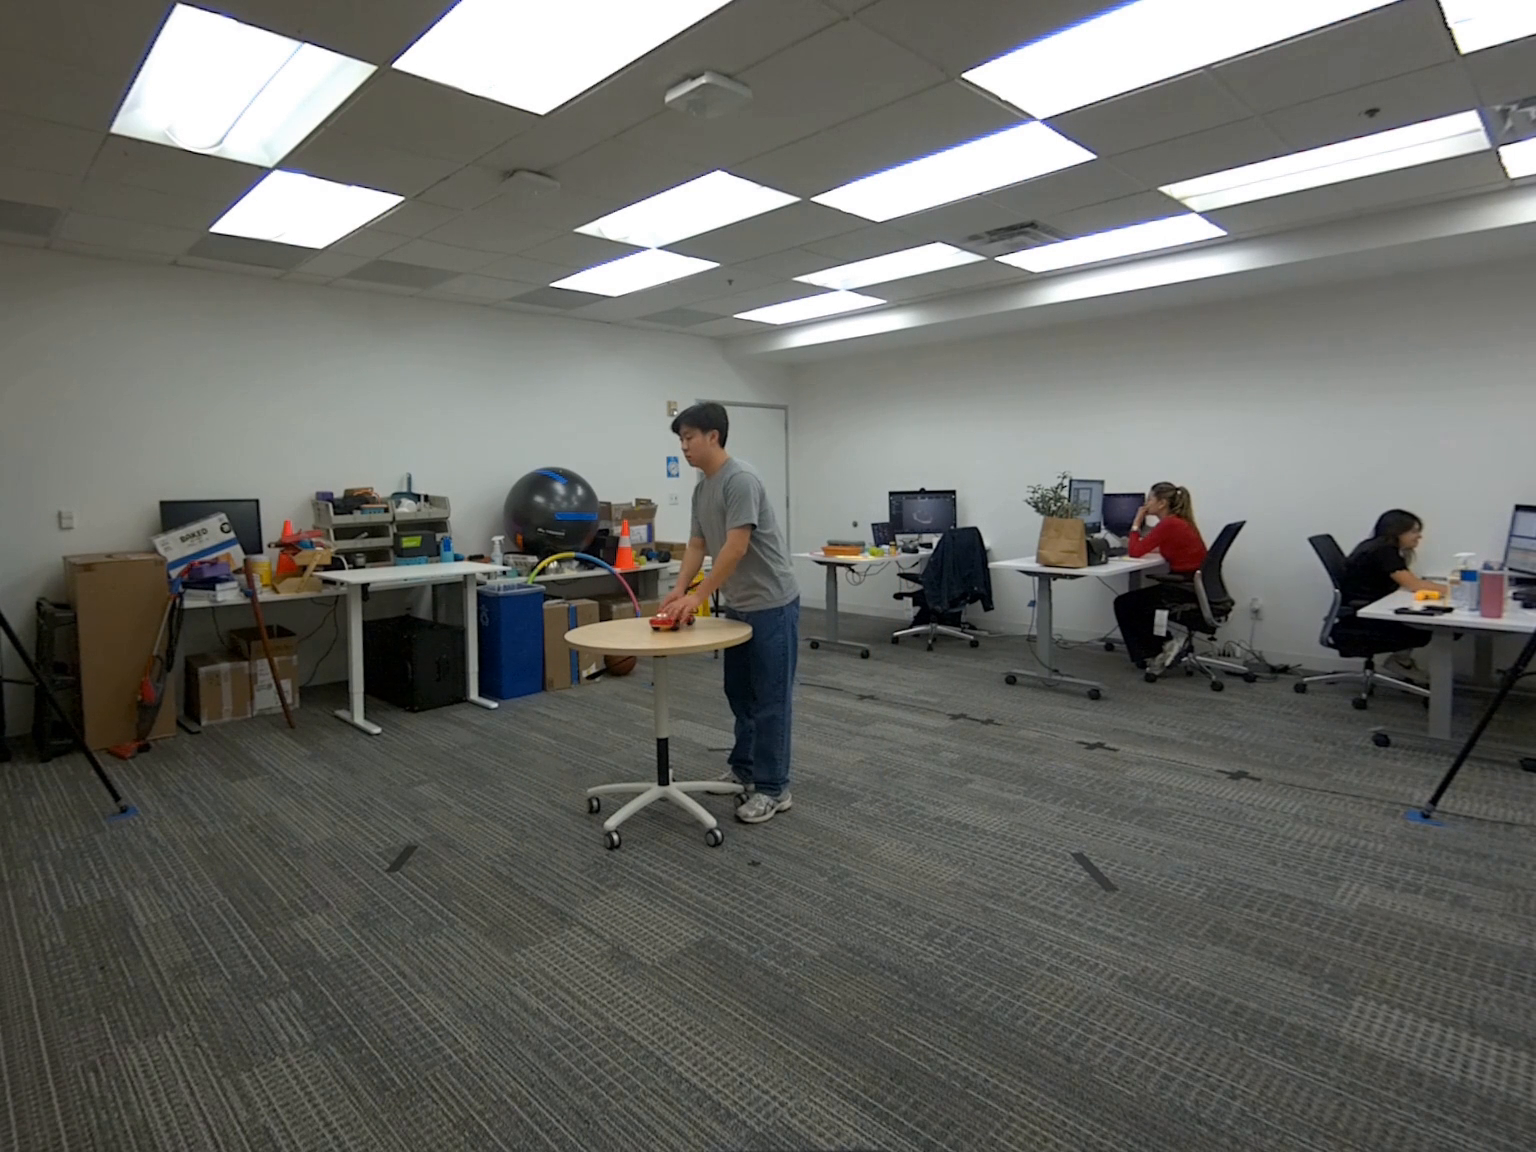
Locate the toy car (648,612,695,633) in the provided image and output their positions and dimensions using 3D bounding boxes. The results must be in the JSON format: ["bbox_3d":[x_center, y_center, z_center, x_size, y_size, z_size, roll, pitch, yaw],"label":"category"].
[{"bbox_3d":[-0.404,0.187,3.561,0.133,0.084,0.248,0,-7,20],"label":"toy car"}]
